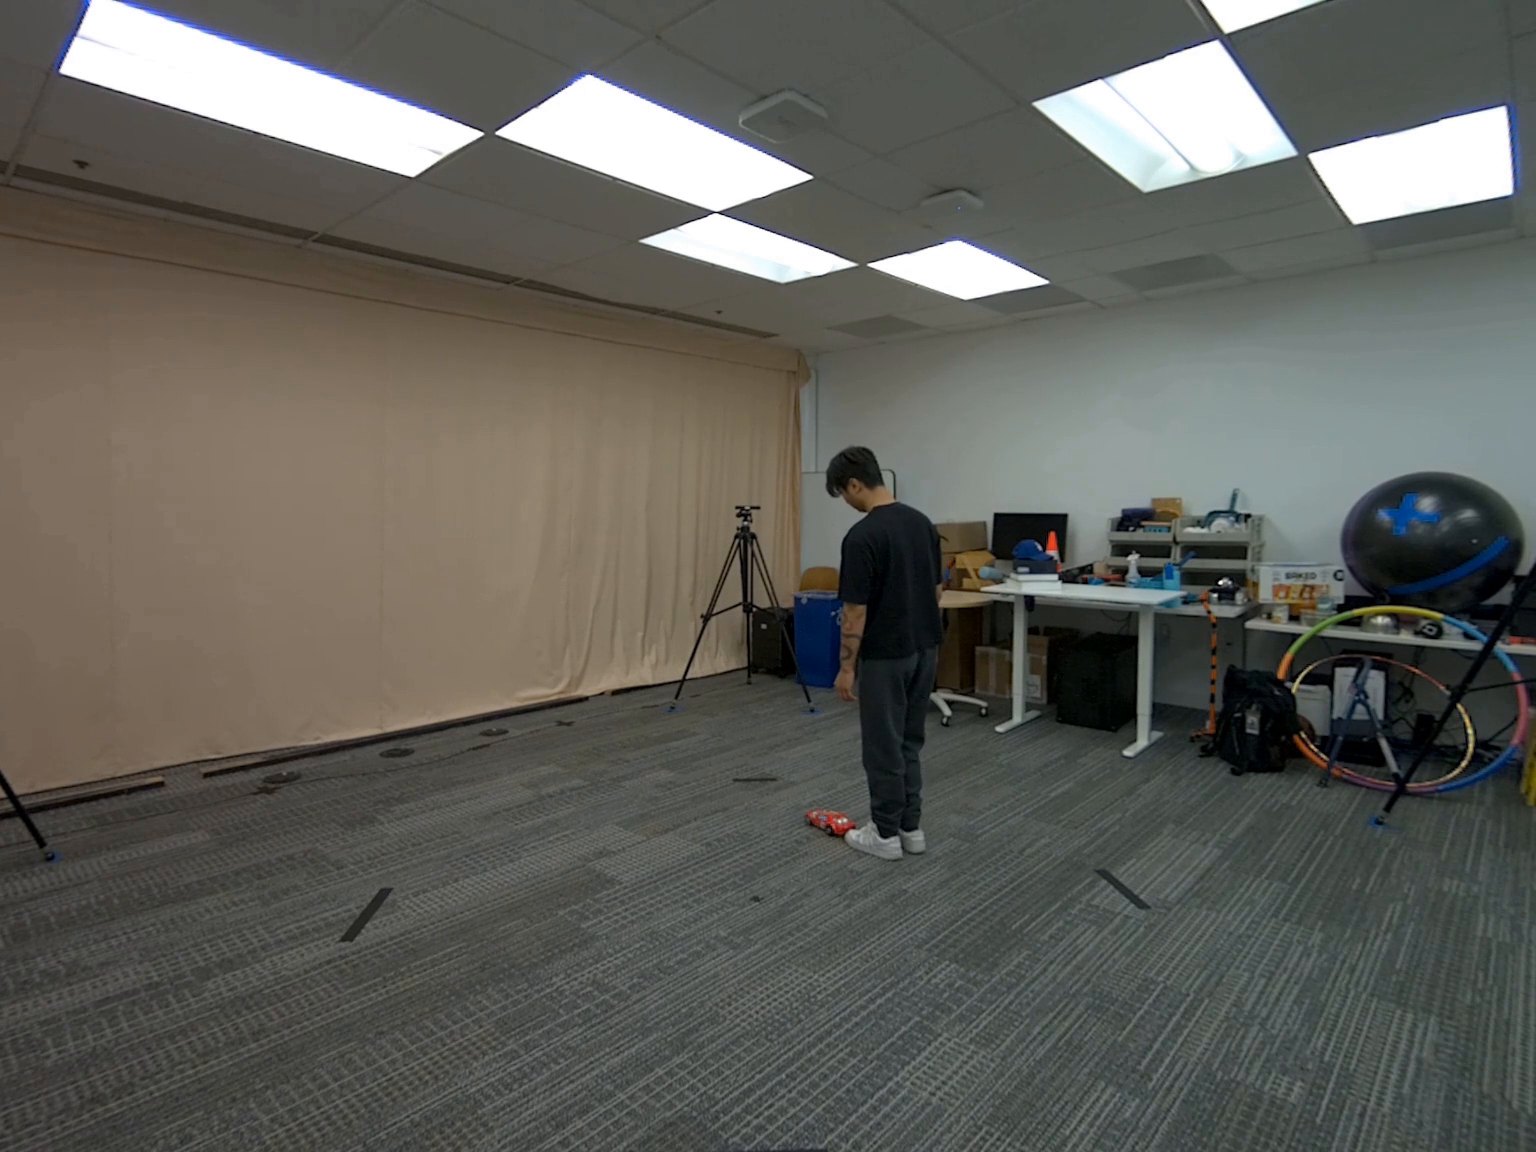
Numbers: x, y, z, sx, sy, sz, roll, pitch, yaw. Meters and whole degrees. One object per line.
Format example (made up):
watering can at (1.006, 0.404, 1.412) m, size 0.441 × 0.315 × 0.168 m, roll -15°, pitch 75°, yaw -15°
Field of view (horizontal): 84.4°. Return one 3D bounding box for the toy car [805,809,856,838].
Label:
toy car at (0.275, 1.060, 3.622) m, size 0.126 × 0.083 × 0.261 m, roll -3°, pitch -6°, yaw -34°
